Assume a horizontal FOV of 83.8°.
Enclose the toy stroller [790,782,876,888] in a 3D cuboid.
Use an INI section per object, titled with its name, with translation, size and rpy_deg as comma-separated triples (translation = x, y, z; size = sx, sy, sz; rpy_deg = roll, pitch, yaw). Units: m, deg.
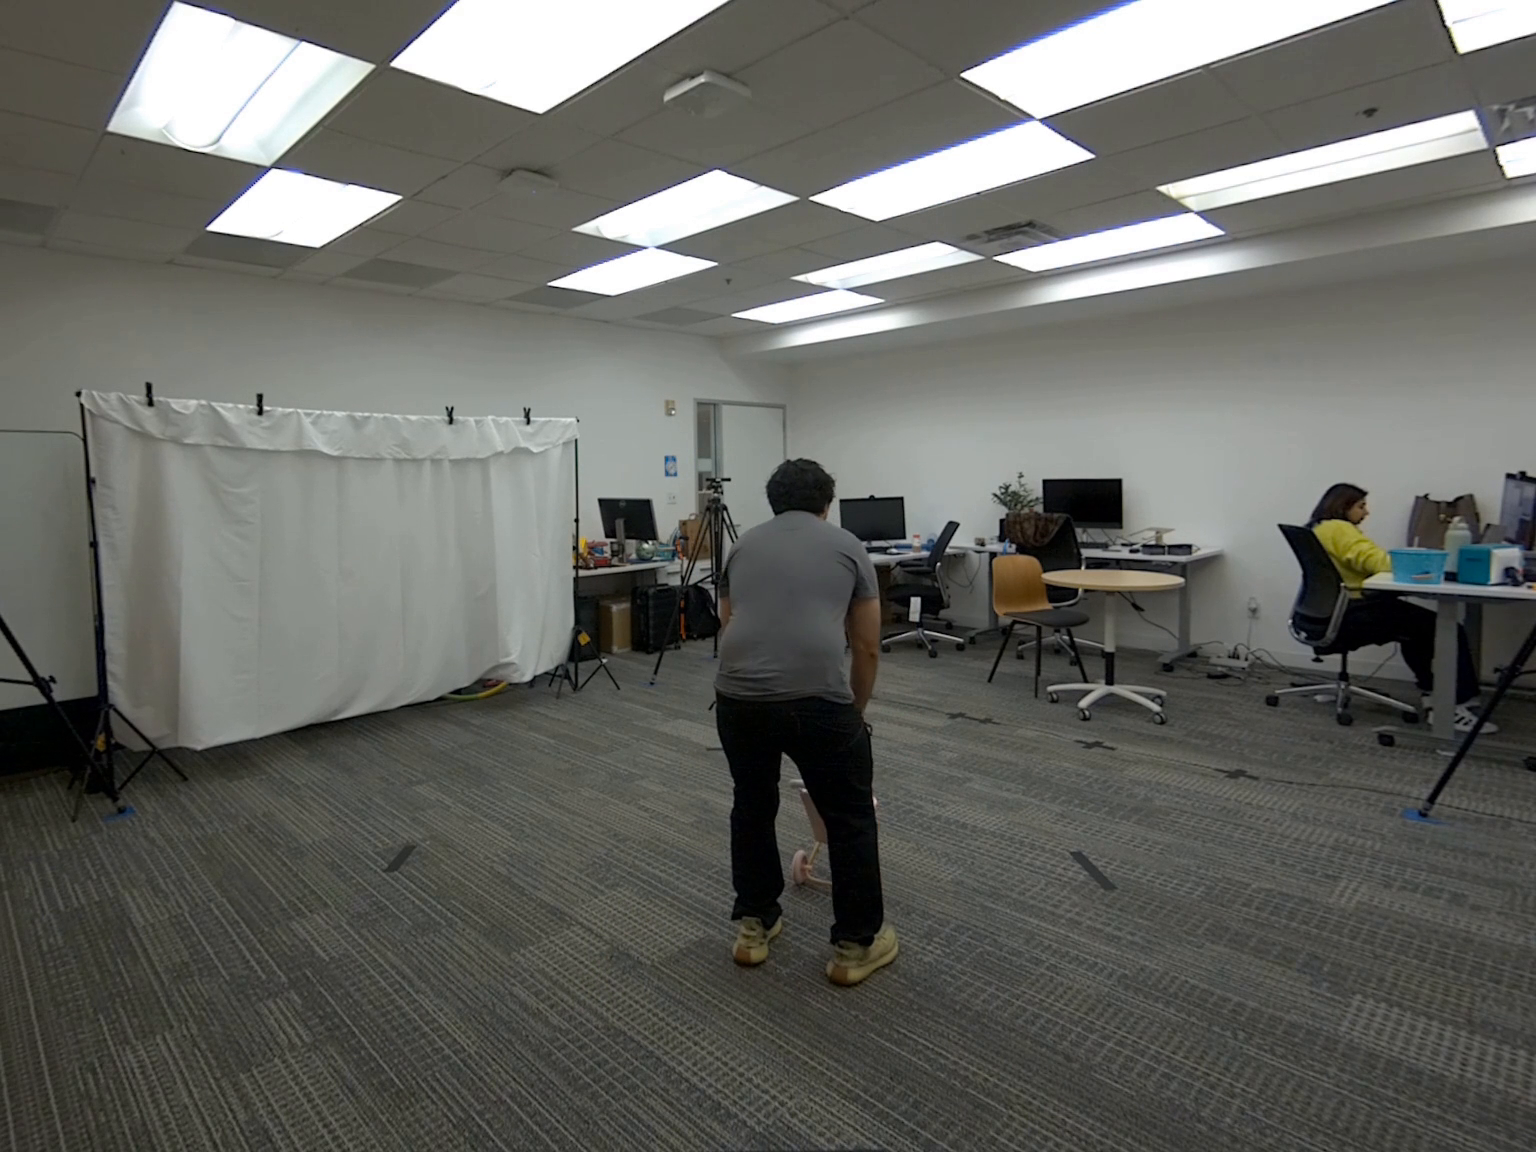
[toy stroller]
translation = 0.261, 0.841, 2.930
size = 0.289, 0.525, 0.339
rpy_deg = 3, 22, 29
